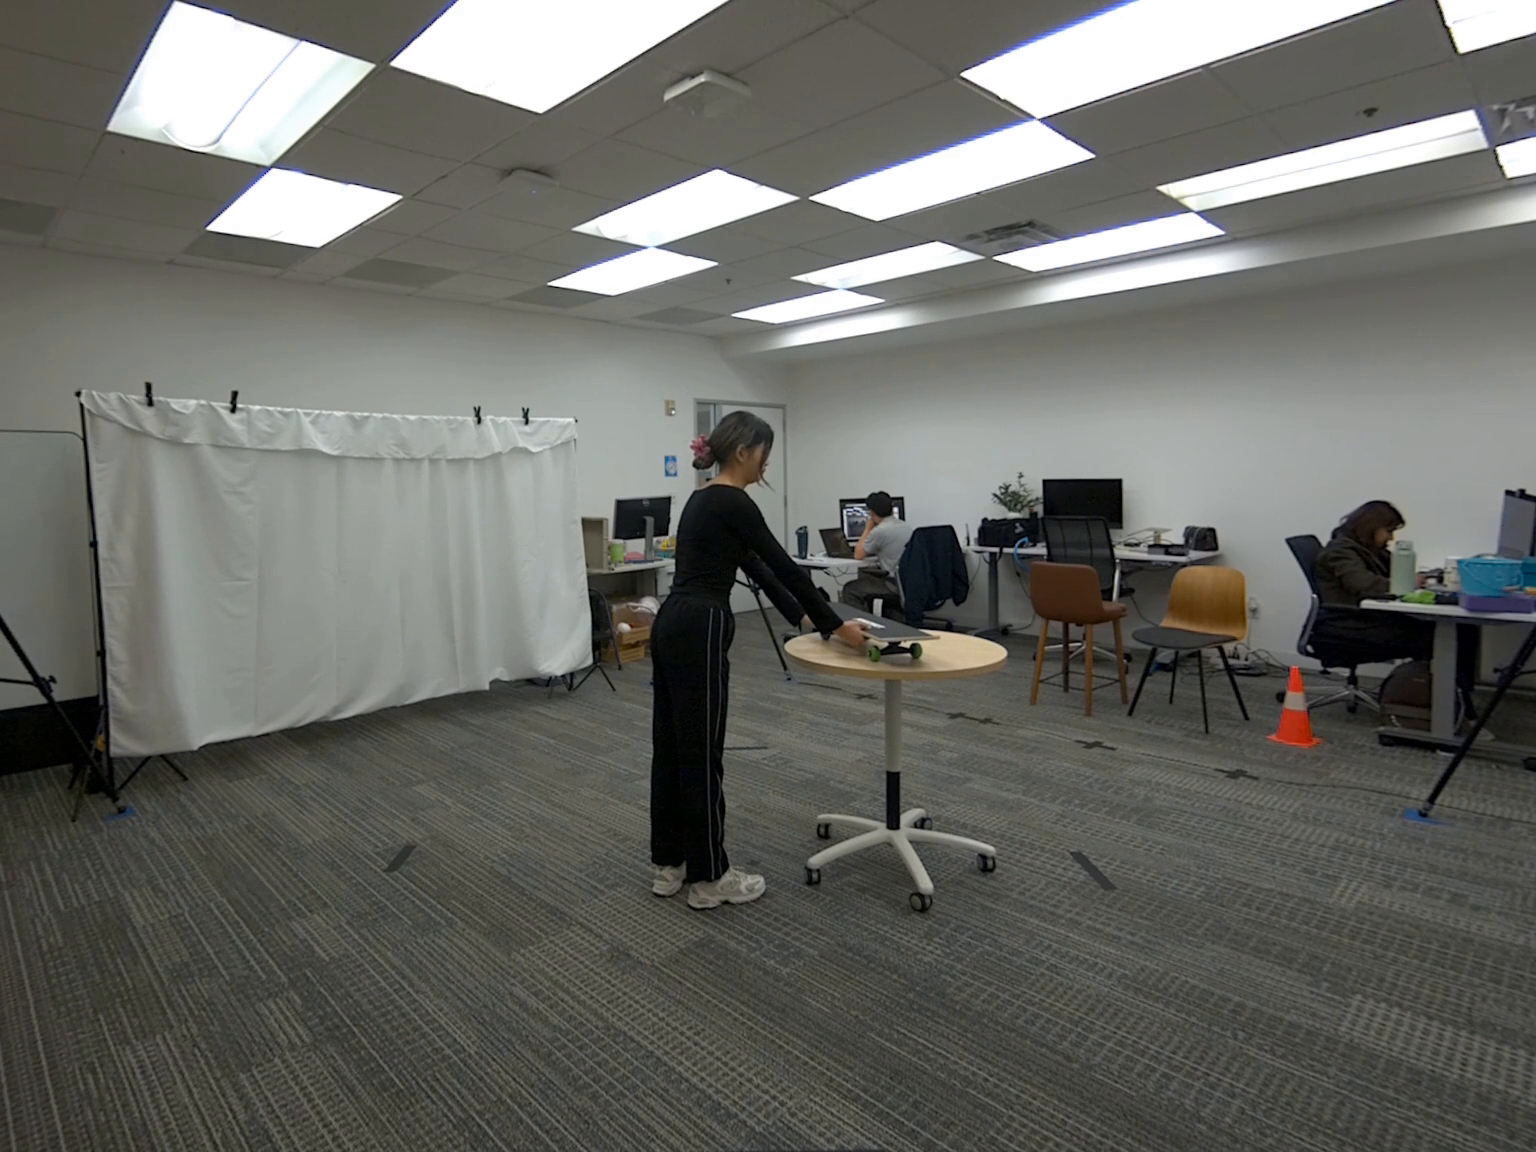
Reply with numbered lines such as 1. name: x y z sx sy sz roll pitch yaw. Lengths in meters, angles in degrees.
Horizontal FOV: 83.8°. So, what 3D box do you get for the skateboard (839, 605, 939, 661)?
1. skateboard: 0.355 0.201 2.994 0.190 0.110 0.802 -1 7 -19
